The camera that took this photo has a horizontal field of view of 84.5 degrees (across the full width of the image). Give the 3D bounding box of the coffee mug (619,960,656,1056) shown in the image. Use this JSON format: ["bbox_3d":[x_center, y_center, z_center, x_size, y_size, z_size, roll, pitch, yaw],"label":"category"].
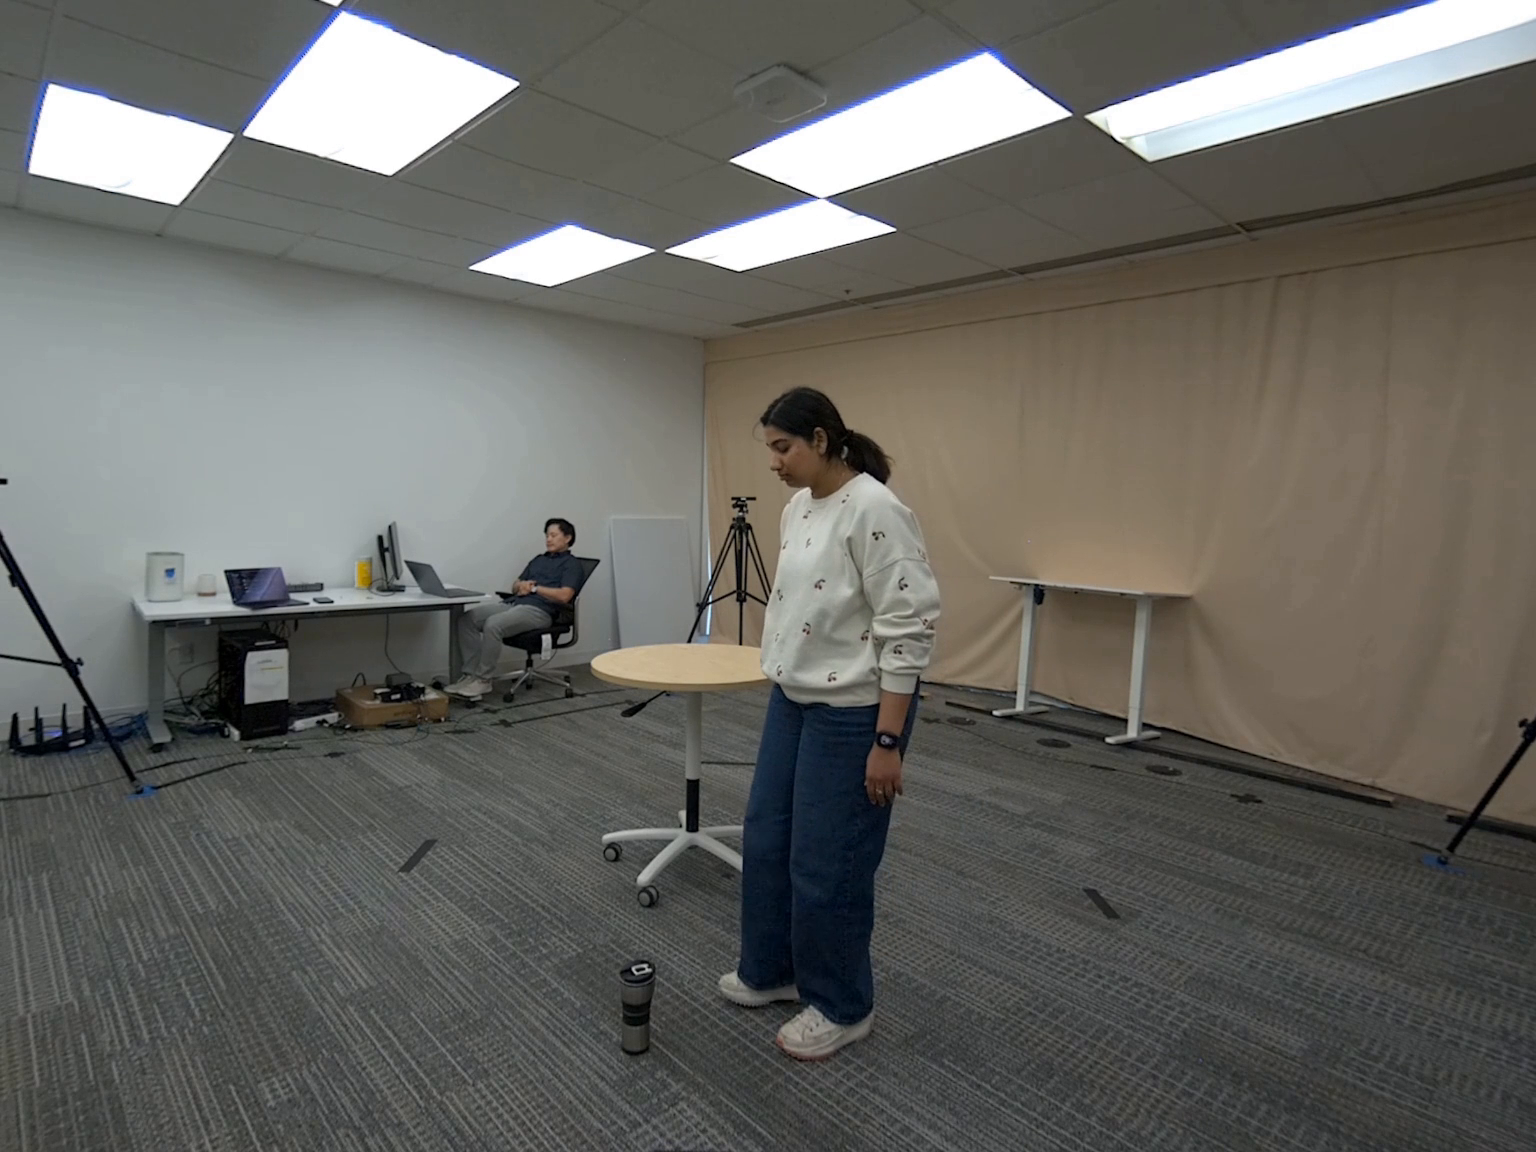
[{"bbox_3d":[-0.319,1.090,2.142,0.090,0.202,0.119,1,4,43],"label":"coffee mug"}]
